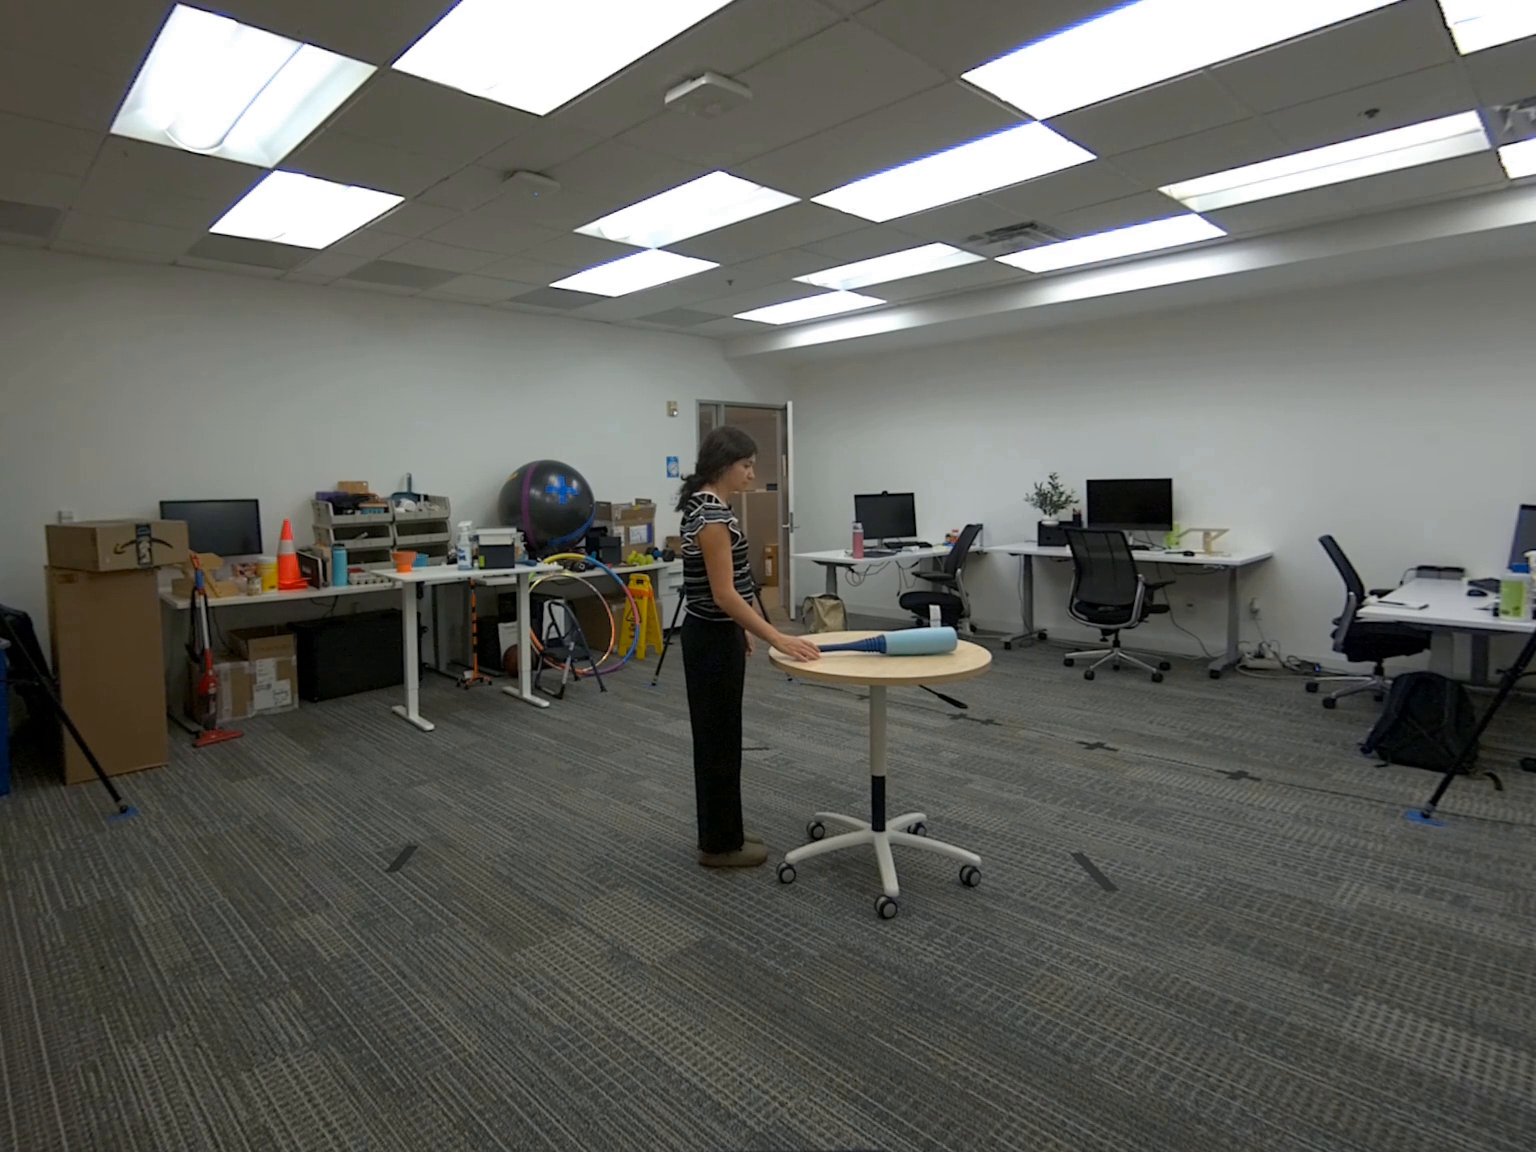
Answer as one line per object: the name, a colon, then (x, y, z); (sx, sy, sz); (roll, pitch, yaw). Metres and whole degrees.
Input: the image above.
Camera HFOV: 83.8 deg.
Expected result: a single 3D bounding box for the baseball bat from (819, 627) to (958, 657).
baseball bat: (0.376, 0.236, 2.935); (0.541, 0.089, 0.090); (-4, 5, -4)
